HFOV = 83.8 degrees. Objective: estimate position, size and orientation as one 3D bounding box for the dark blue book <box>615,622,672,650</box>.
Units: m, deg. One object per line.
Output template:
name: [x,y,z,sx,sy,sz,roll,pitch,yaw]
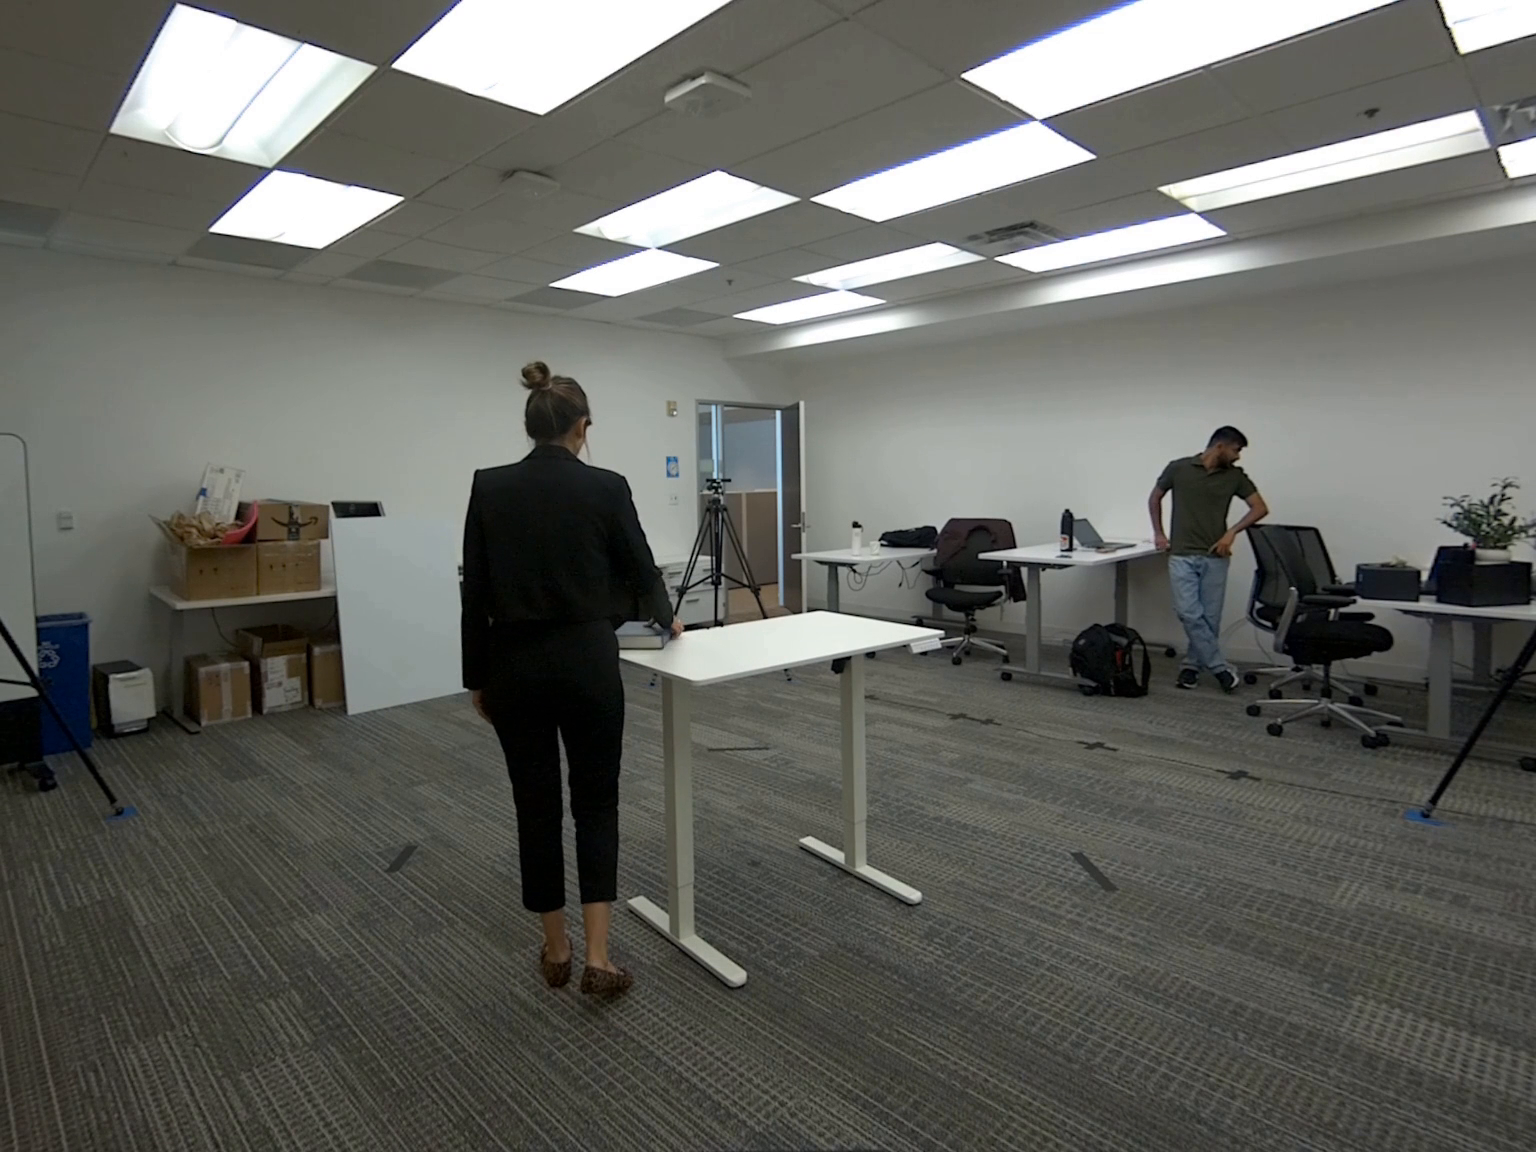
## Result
dark blue book: [-0.392,0.195,2.734,0.164,0.045,0.245,0,6,5]
